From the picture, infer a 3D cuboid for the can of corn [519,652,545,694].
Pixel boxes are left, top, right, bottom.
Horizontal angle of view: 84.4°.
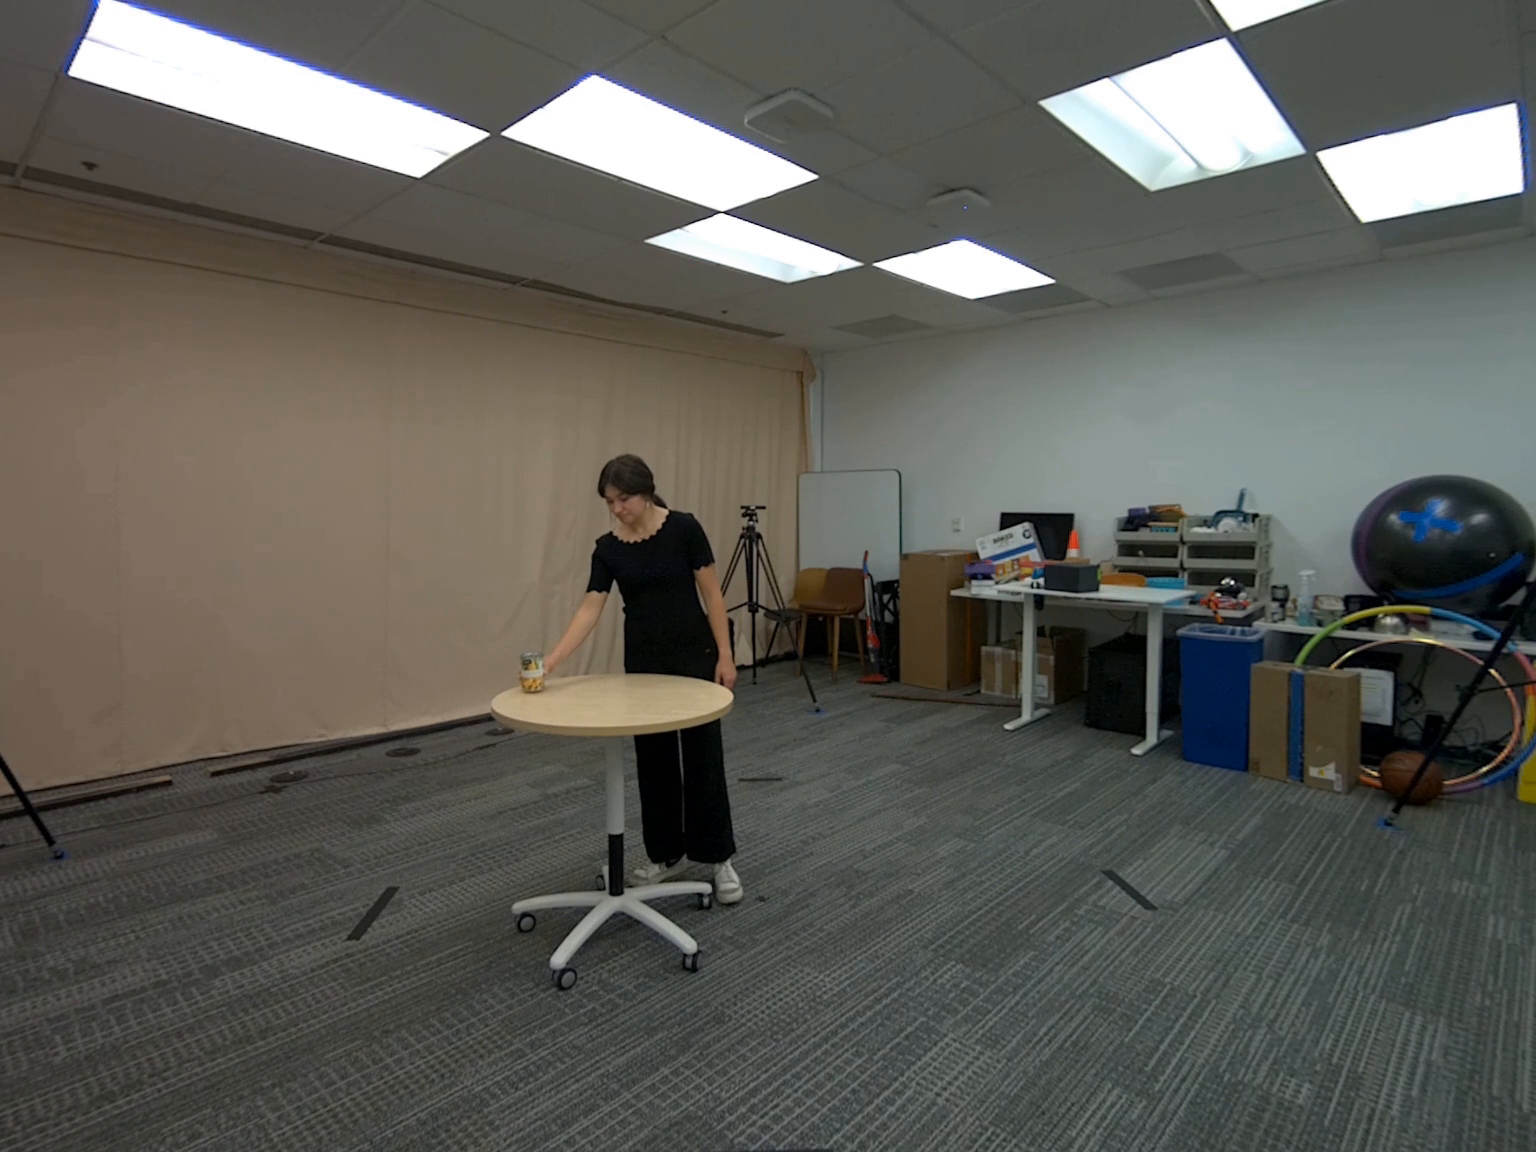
[{"bbox_3d":[-0.769,0.311,2.775,0.074,0.111,0.074,-3,3,-2],"label":"can of corn"}]
